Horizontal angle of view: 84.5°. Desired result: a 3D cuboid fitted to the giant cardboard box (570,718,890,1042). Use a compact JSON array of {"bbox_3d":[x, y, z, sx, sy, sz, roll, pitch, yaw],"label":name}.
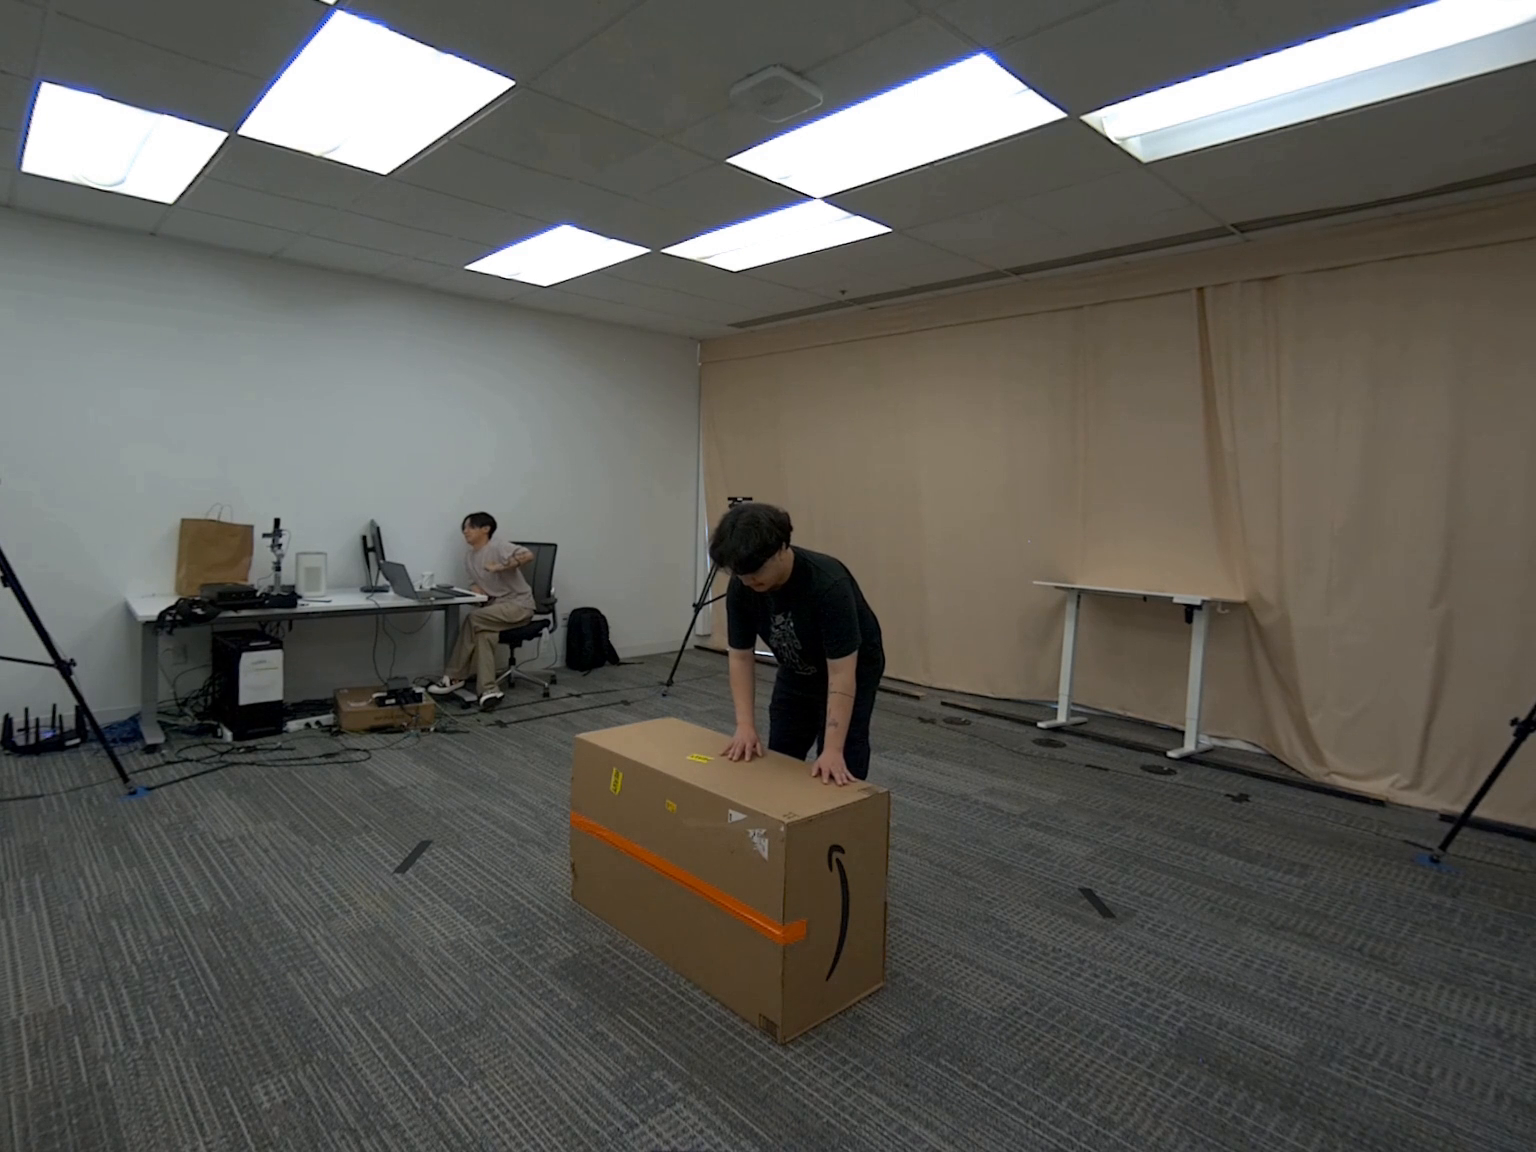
[{"bbox_3d":[-0.173,0.865,2.640,0.437,0.582,1.053,-3,6,-43],"label":"giant cardboard box"}]
